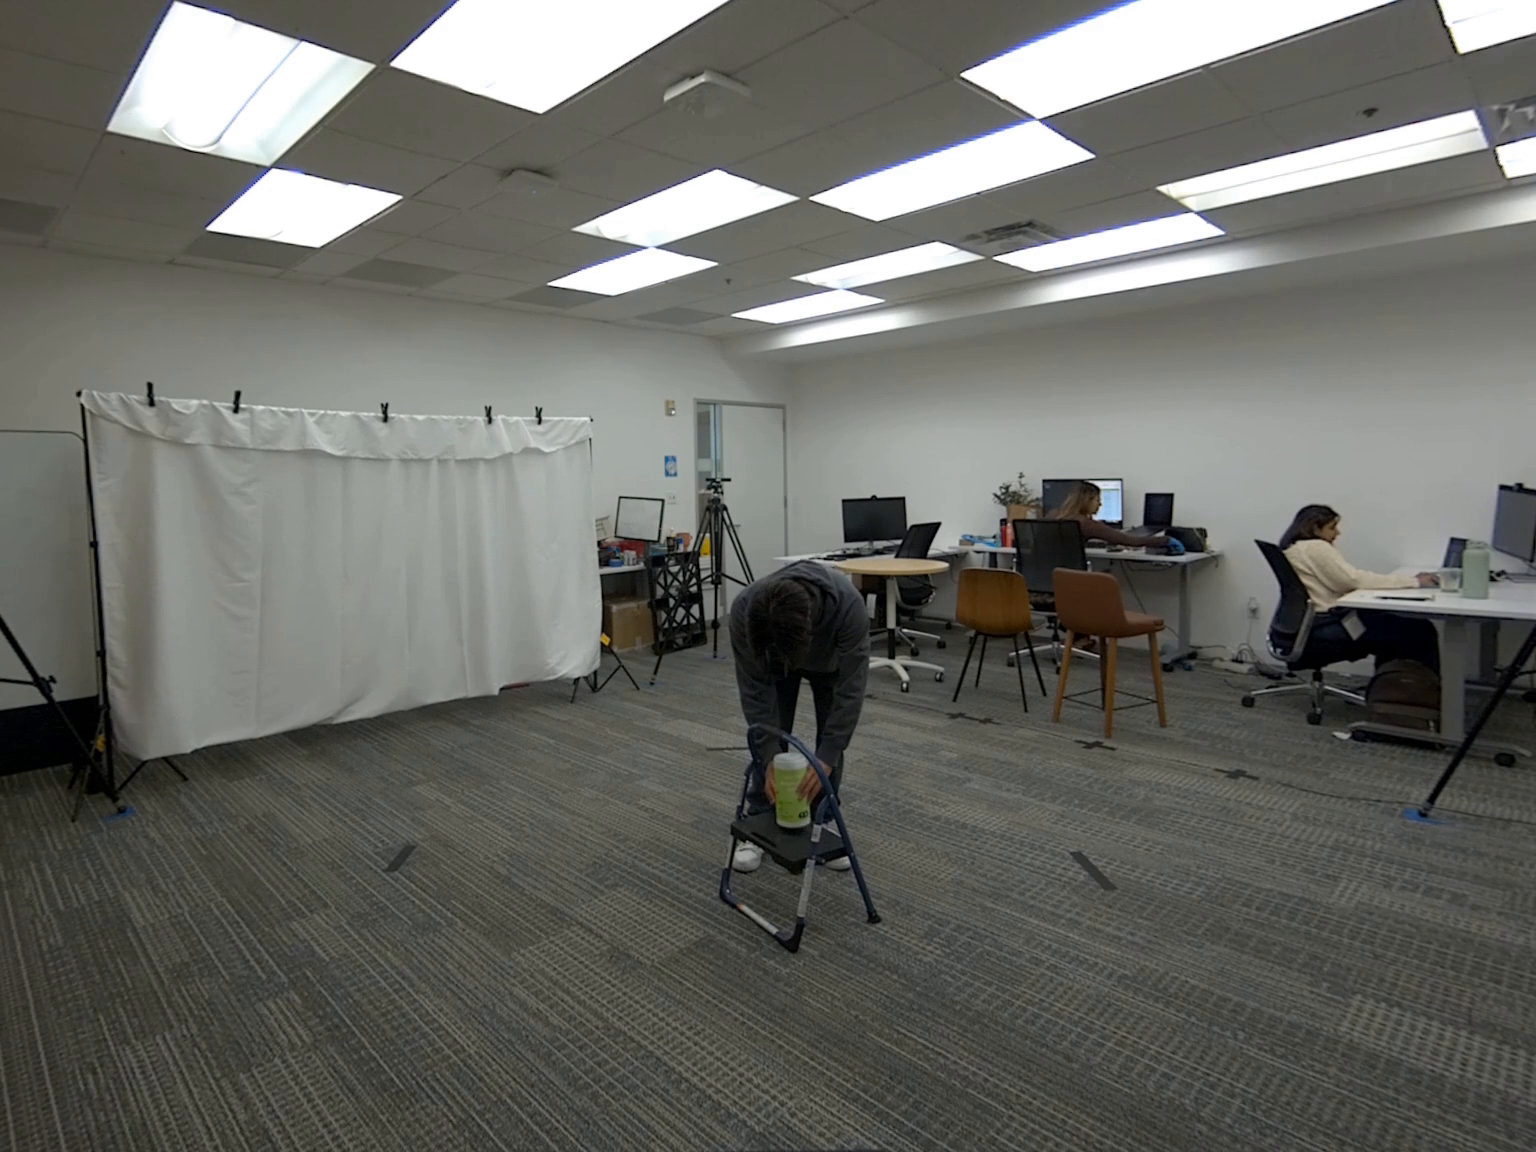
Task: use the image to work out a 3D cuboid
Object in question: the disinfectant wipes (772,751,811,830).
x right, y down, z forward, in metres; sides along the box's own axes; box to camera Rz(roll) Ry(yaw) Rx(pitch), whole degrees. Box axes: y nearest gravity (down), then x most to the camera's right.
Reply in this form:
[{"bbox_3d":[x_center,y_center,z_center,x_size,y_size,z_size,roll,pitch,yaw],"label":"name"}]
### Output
[{"bbox_3d":[0.088,0.695,2.759,0.118,0.217,0.118,-2,2,-2],"label":"disinfectant wipes"}]
